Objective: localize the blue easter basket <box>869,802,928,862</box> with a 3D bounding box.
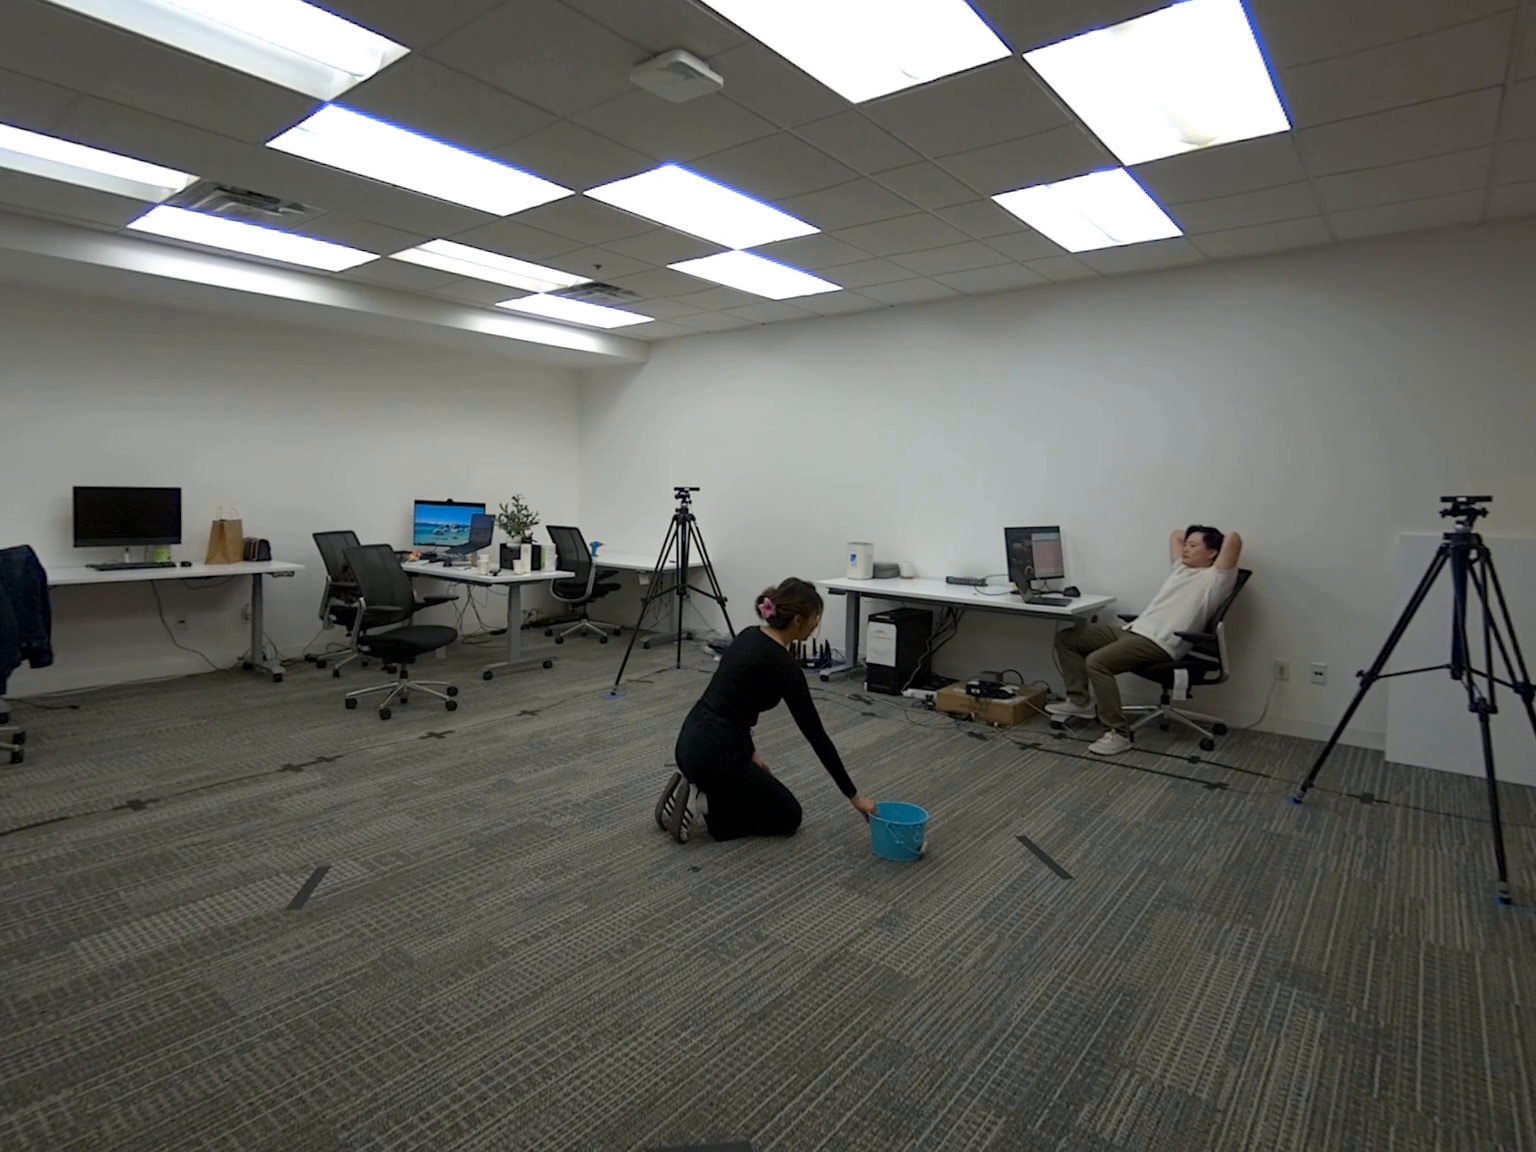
[{"bbox_3d":[0.496,0.985,3.293,0.243,0.155,0.245,1,6,-2],"label":"blue easter basket"}]
